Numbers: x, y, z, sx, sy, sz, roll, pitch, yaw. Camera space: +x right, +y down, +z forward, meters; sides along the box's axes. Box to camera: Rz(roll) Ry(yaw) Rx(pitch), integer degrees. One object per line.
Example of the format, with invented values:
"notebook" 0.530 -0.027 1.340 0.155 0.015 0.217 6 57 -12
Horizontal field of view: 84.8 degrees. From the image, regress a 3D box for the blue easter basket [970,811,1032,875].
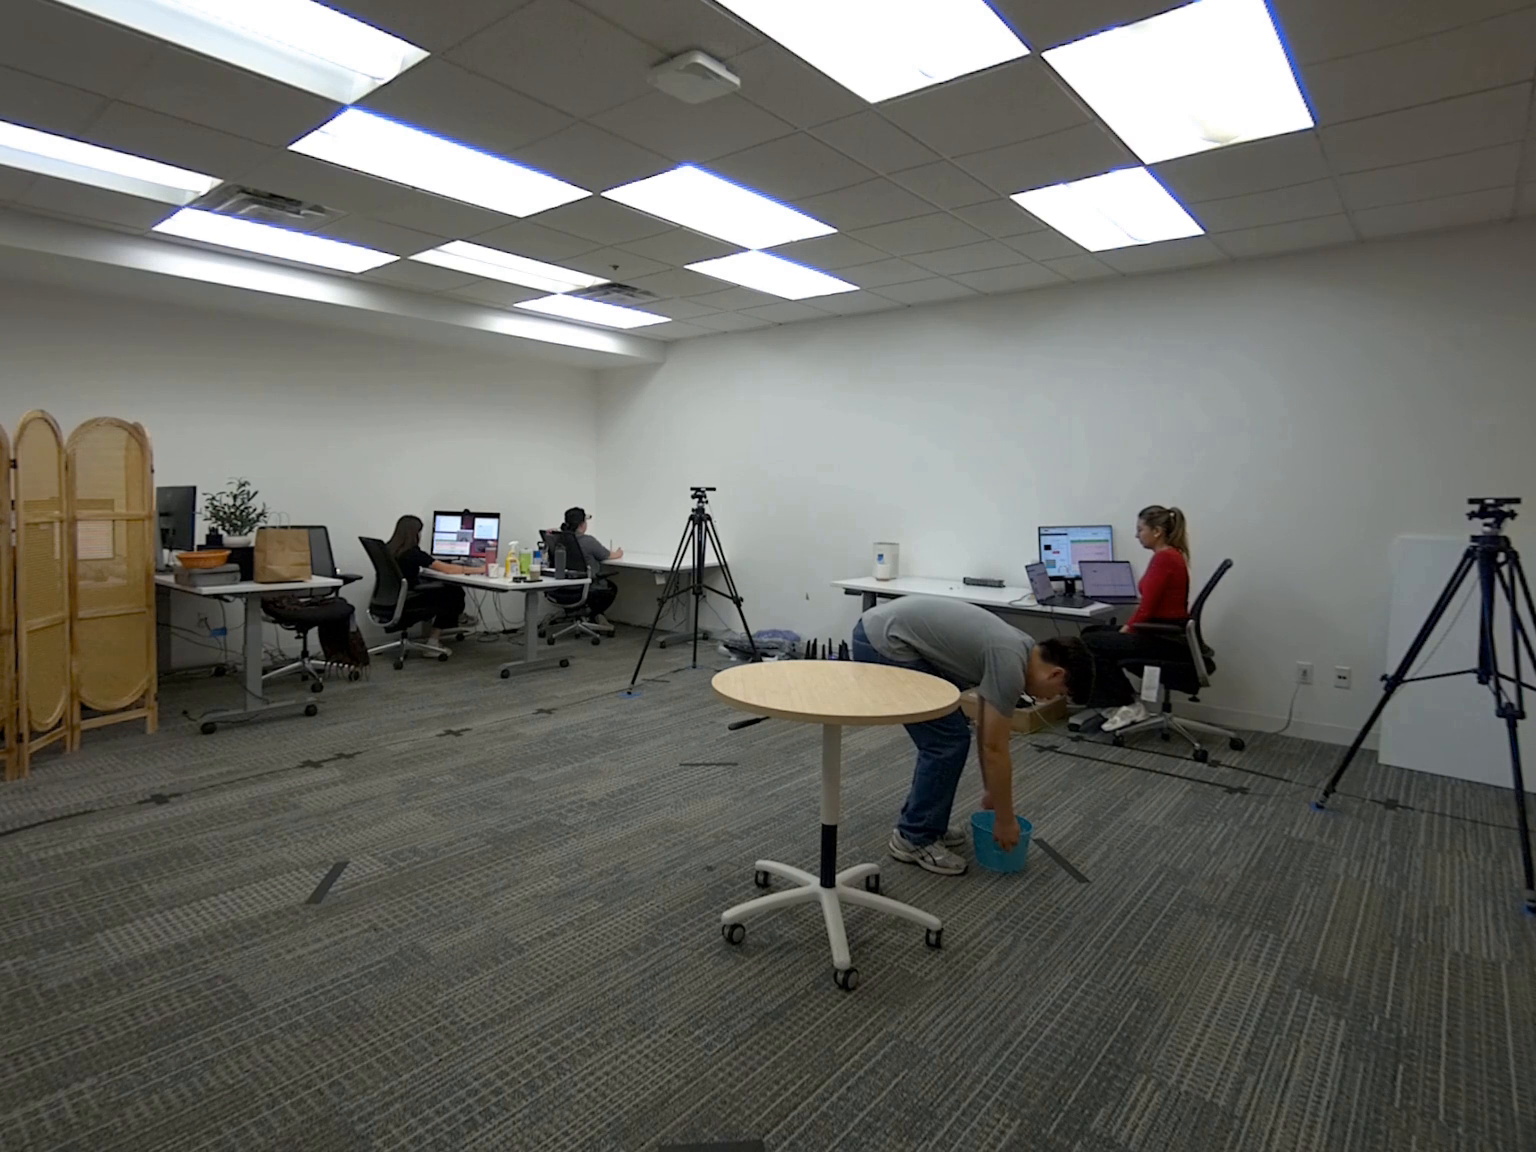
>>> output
"blue easter basket" 0.876 1.002 3.225 0.243 0.155 0.245 1 5 -2
